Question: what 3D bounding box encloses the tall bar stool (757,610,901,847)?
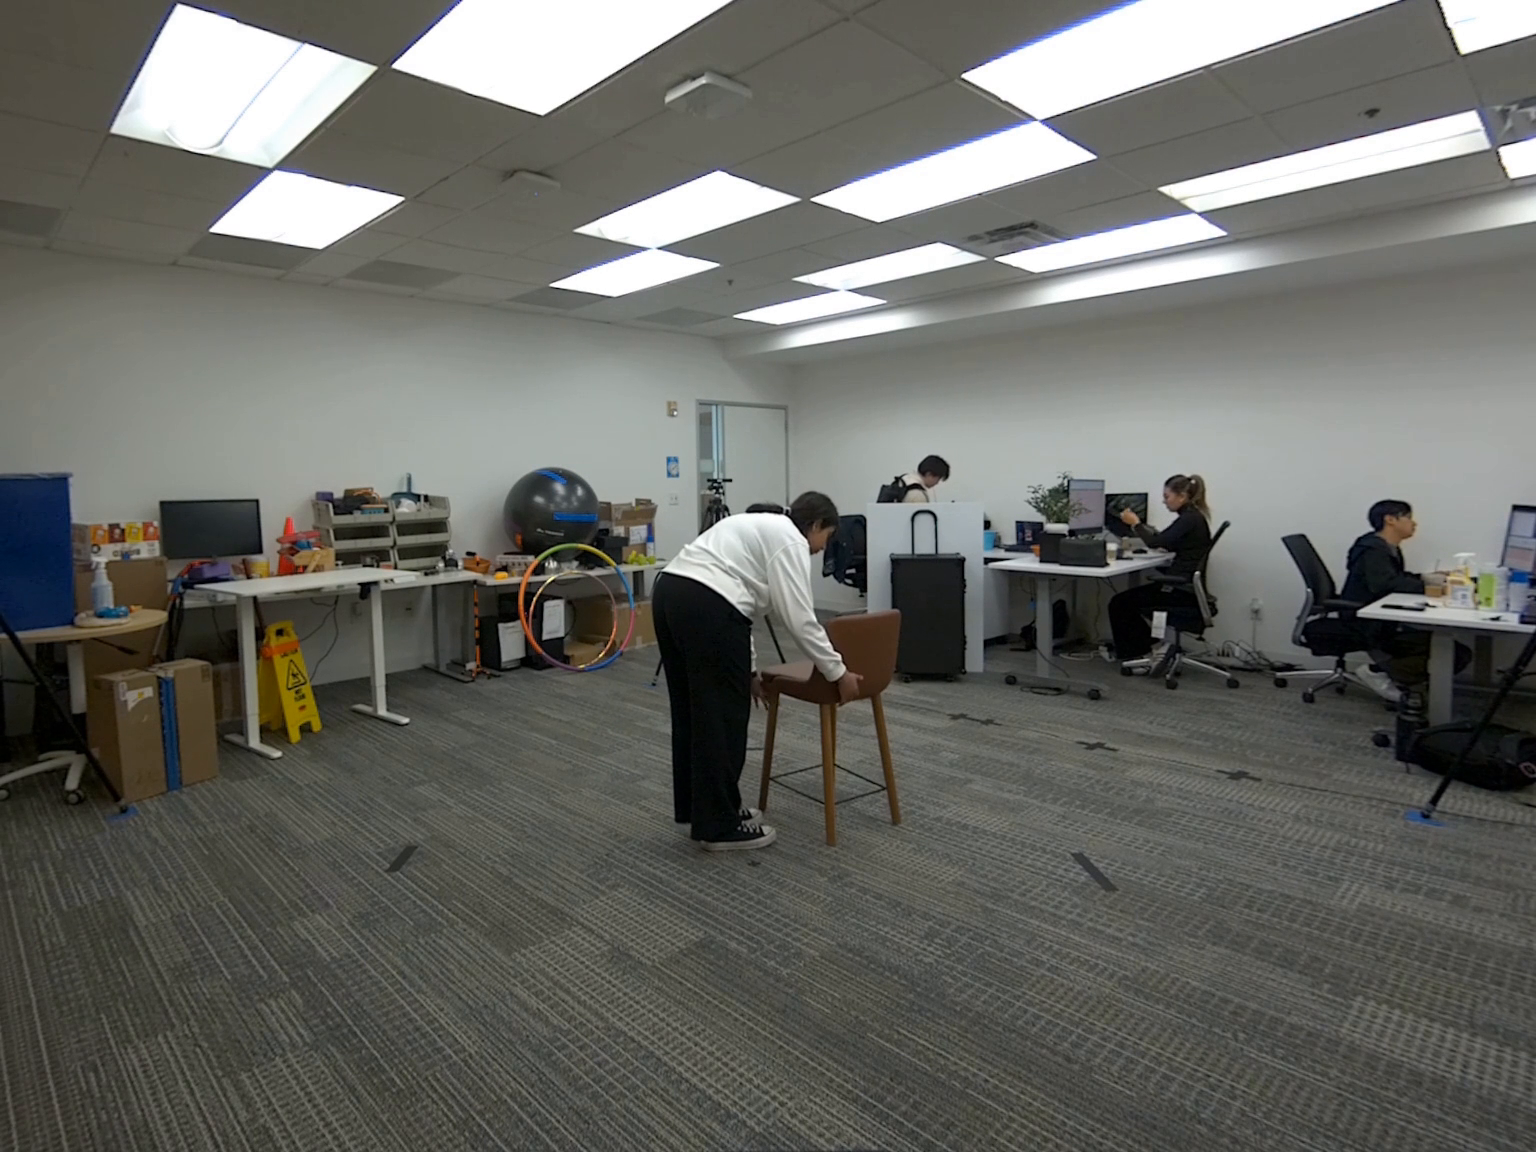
[{"bbox_3d":[0.253,0.559,3.503,0.445,0.885,0.482,-4,7,-36],"label":"tall bar stool"}]
